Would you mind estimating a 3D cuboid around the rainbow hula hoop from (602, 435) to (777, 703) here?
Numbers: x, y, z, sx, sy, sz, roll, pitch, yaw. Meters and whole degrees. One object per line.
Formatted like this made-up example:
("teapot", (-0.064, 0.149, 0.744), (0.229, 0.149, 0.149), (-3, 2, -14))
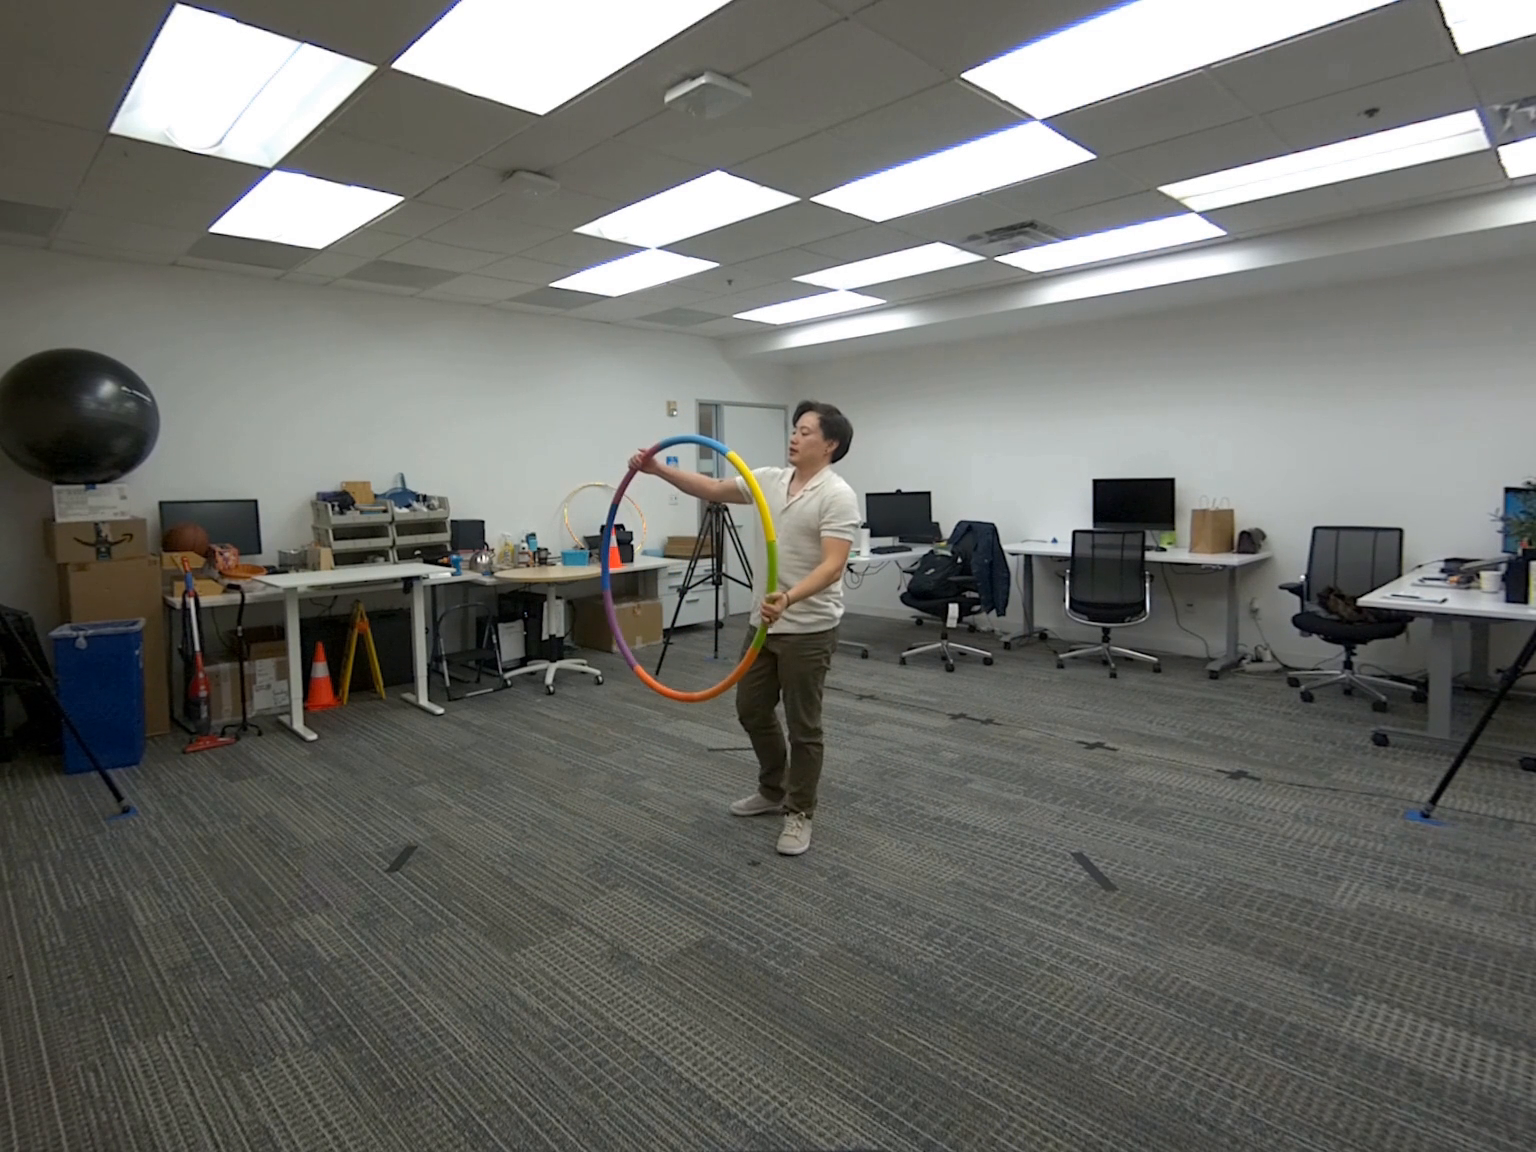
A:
("rainbow hula hoop", (-0.320, -0.036, 3.195), (0.034, 0.978, 1.009), (1, 2, -43))
